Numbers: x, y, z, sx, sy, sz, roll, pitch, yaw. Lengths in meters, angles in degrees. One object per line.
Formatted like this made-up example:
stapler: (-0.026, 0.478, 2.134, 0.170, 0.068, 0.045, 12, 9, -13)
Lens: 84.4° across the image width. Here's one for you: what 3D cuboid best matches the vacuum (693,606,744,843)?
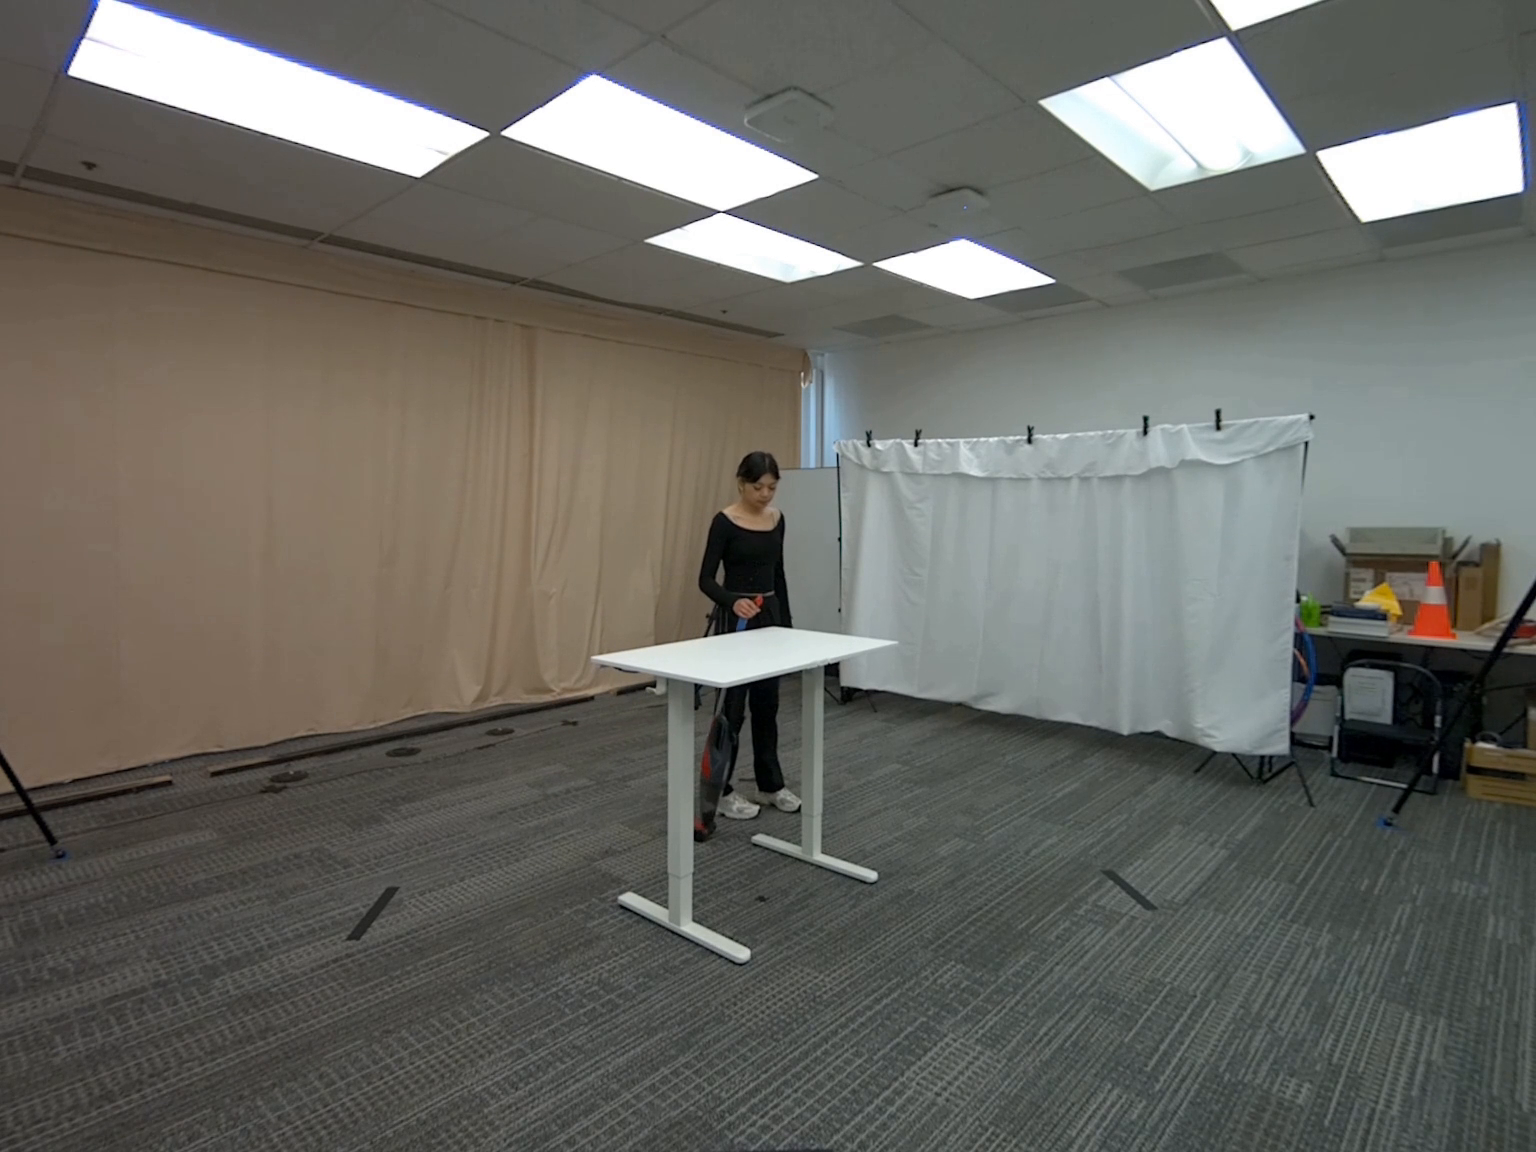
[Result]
vacuum: (-0.177, 0.593, 3.511, 0.148, 1.047, 0.246, 18, 6, 26)
